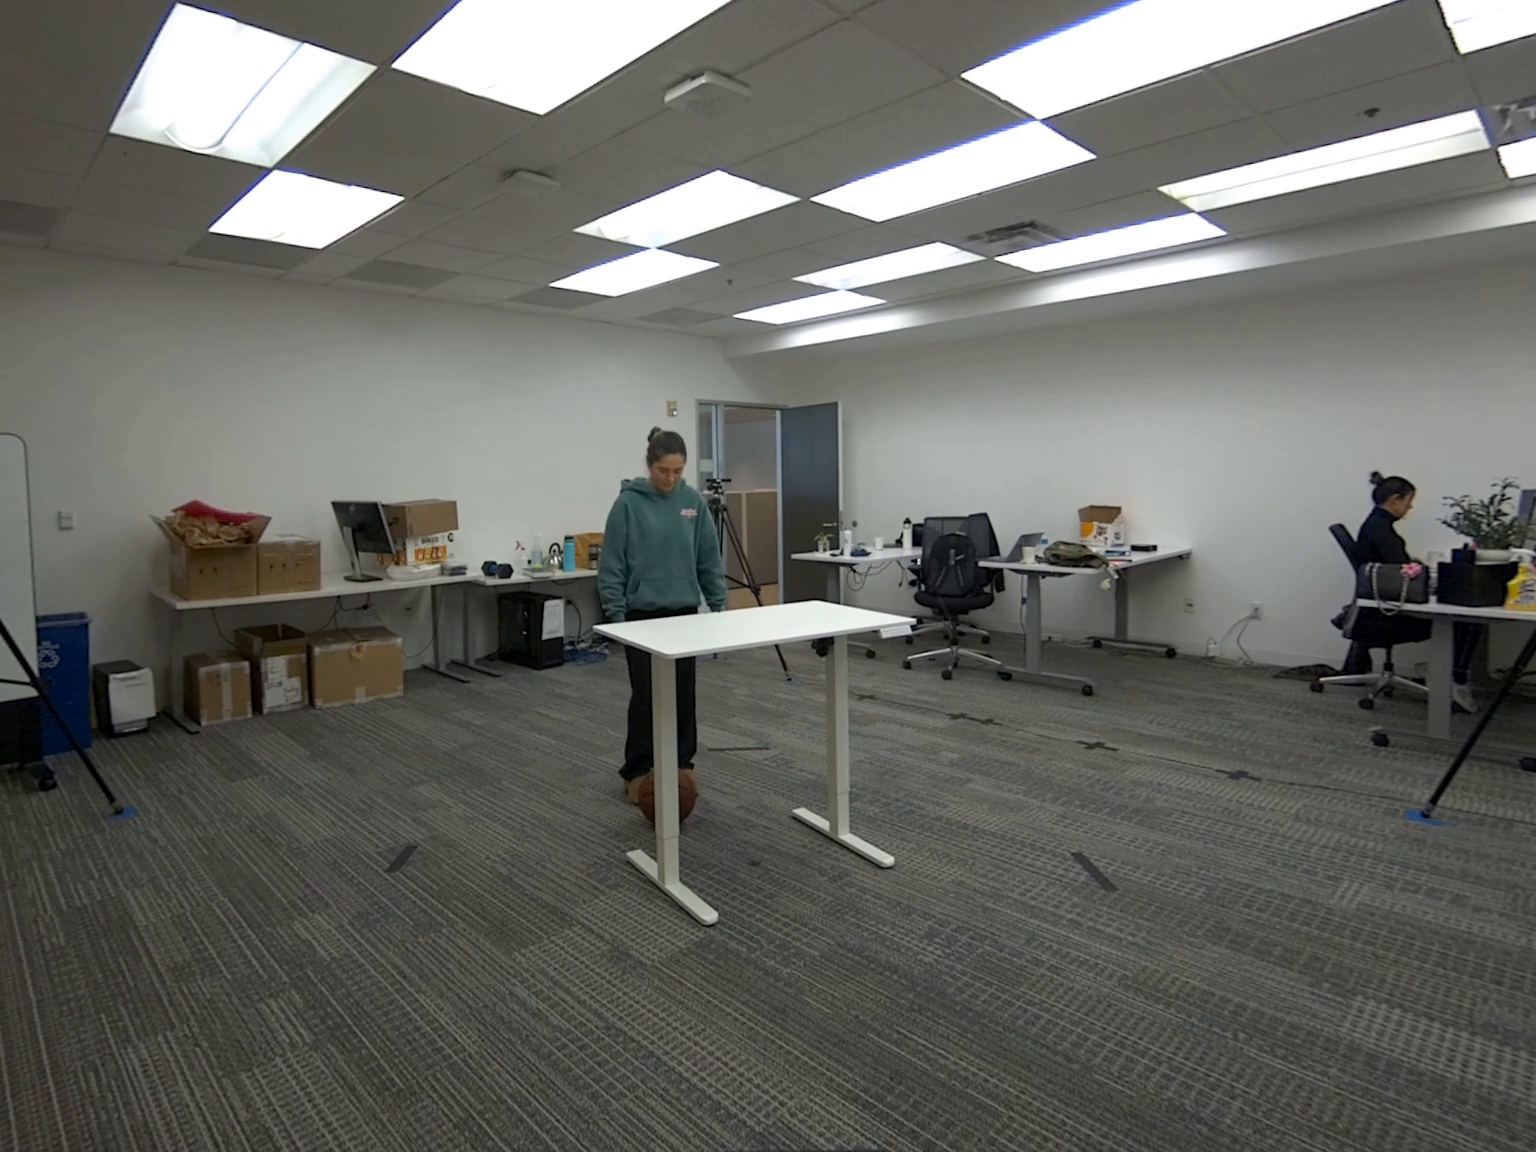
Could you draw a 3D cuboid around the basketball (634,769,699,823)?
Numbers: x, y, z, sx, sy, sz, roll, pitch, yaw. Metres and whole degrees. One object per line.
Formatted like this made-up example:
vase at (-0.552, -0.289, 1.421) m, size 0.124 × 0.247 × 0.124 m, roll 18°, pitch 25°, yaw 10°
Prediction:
basketball at (-0.417, 0.898, 3.478) m, size 0.236 × 0.235 × 0.237 m, roll -1°, pitch 5°, yaw -2°
